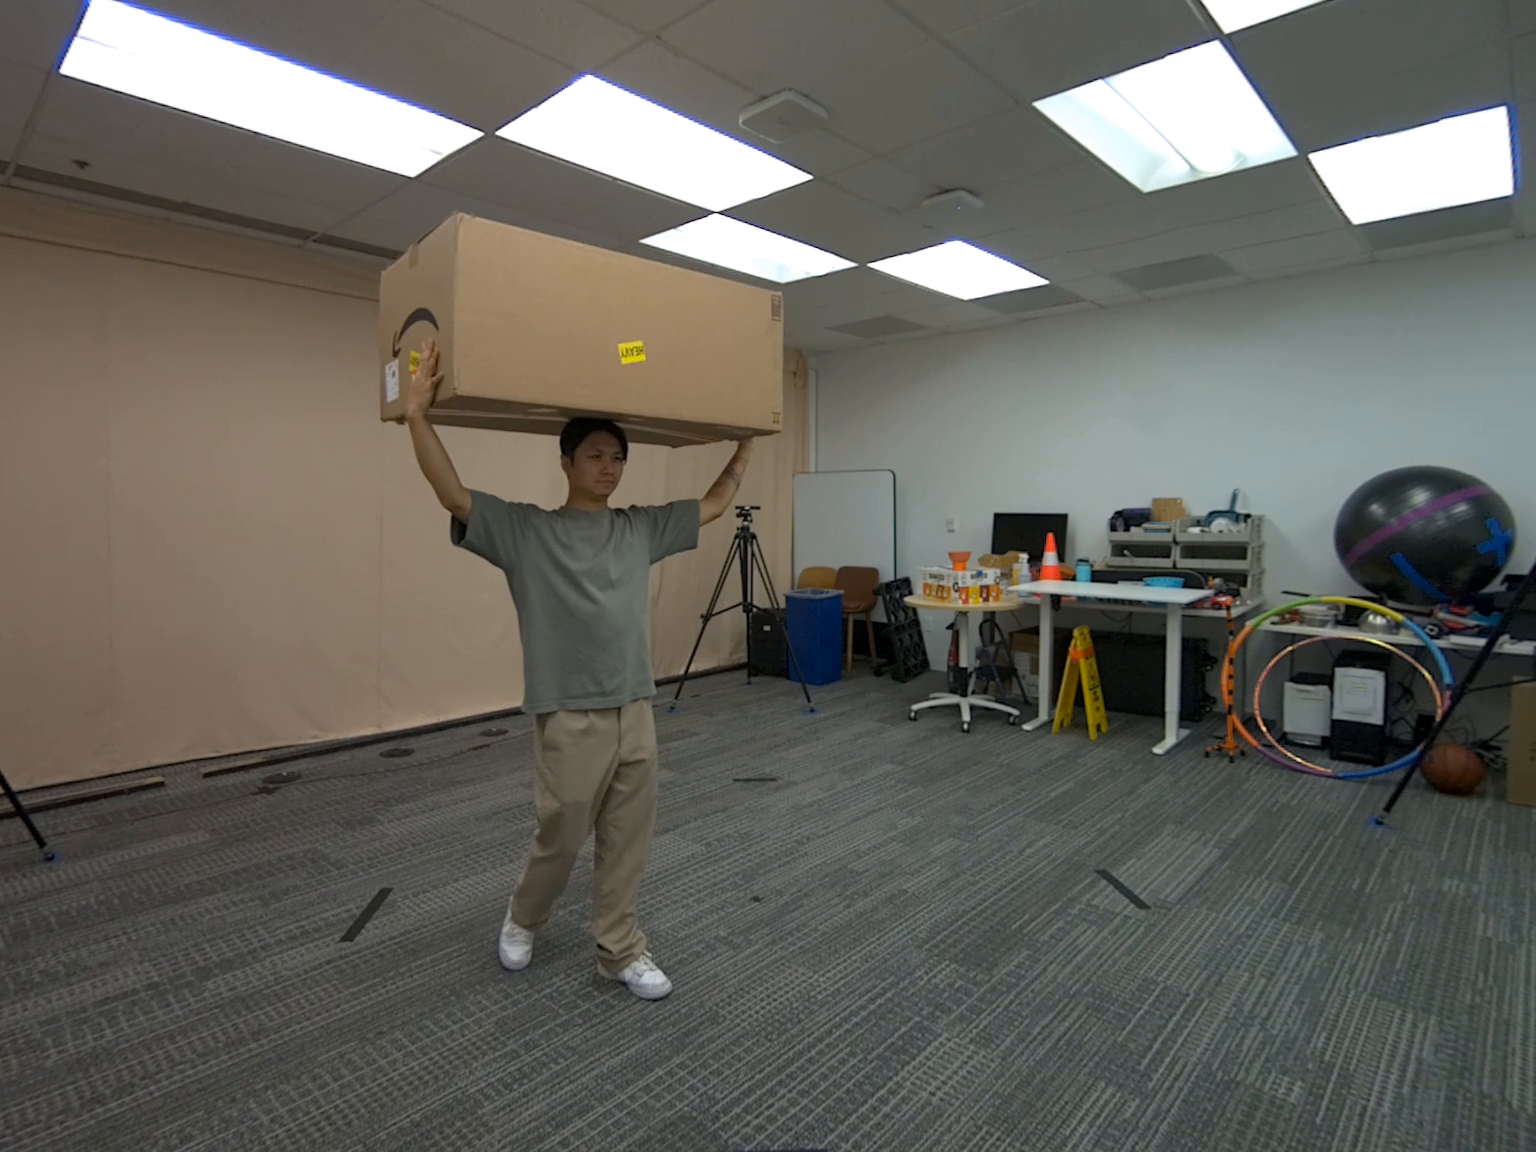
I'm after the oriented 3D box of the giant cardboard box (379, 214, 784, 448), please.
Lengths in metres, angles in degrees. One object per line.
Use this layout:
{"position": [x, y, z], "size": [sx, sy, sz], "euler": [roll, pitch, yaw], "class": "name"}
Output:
{"position": [-0.521, -0.638, 2.458], "size": [0.994, 0.426, 0.596], "euler": [-1, 2, -40], "class": "giant cardboard box"}
